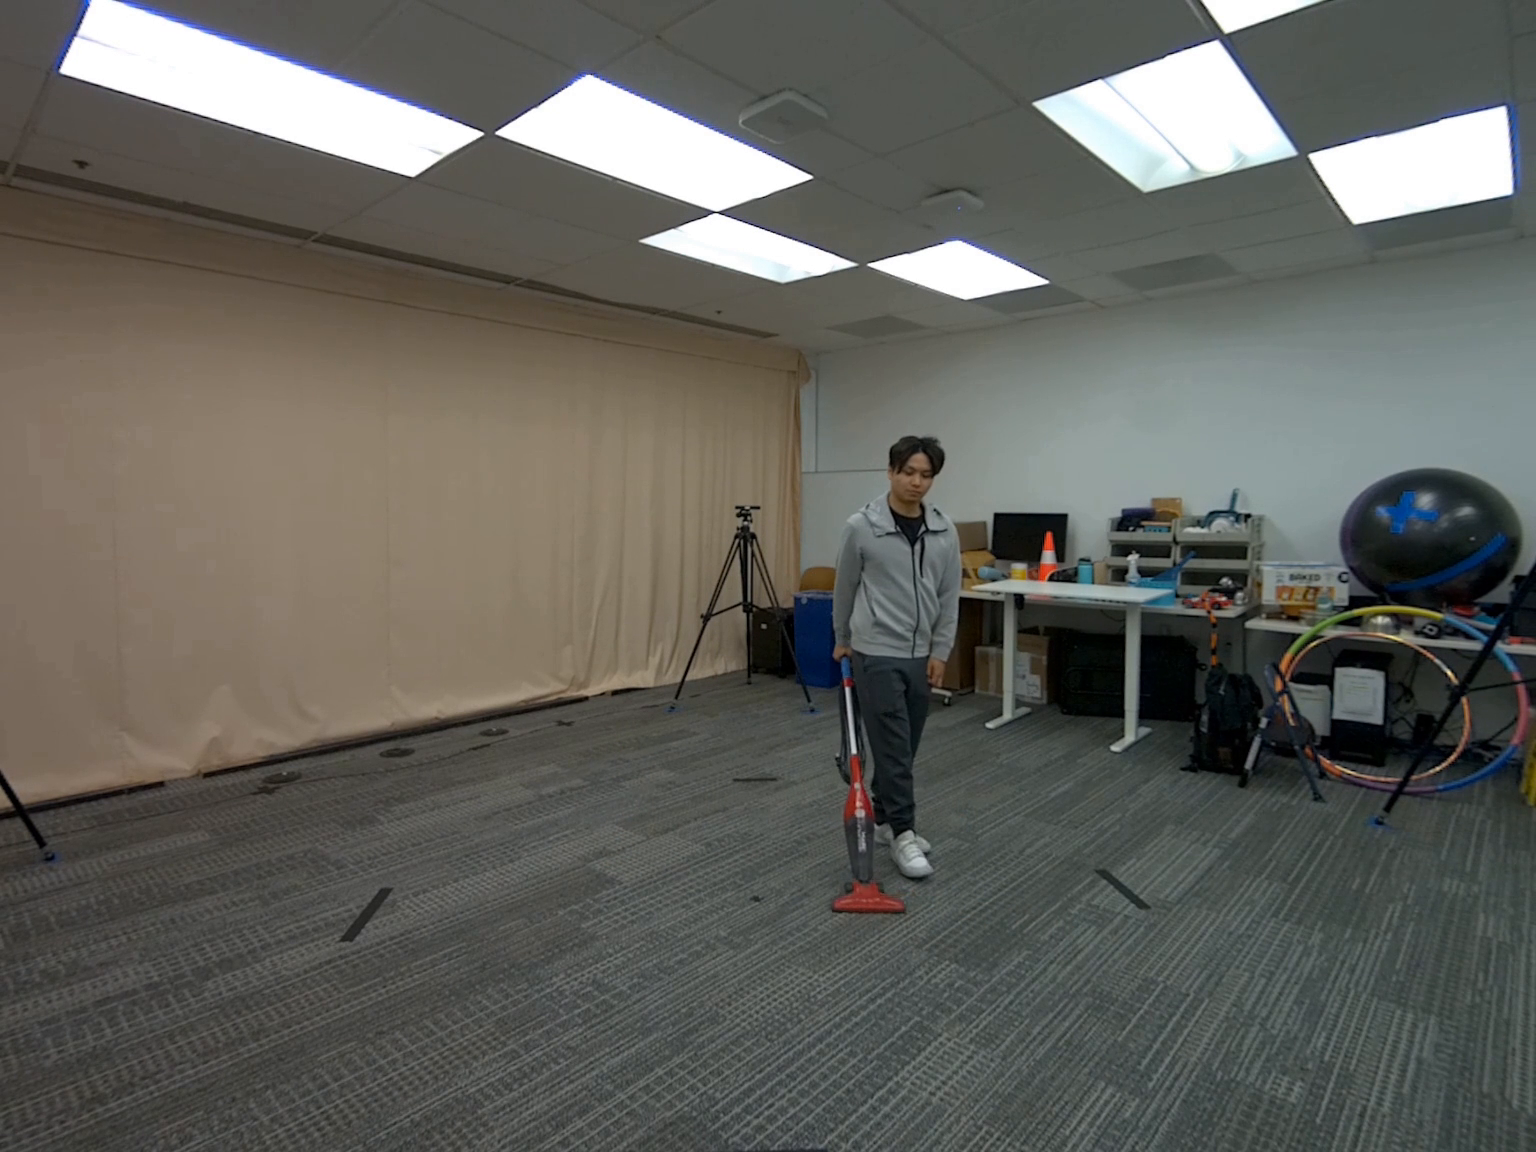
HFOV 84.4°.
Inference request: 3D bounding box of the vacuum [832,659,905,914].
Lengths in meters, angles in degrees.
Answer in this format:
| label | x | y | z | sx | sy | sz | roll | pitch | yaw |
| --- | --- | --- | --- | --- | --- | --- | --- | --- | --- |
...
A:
| label | x | y | z | sx | sy | sz | roll | pitch | yaw |
| --- | --- | --- | --- | --- | --- | --- | --- | --- | --- |
| vacuum | 0.333 | 0.731 | 3.258 | 0.254 | 1.069 | 0.140 | -4 | -40 | 4 |
